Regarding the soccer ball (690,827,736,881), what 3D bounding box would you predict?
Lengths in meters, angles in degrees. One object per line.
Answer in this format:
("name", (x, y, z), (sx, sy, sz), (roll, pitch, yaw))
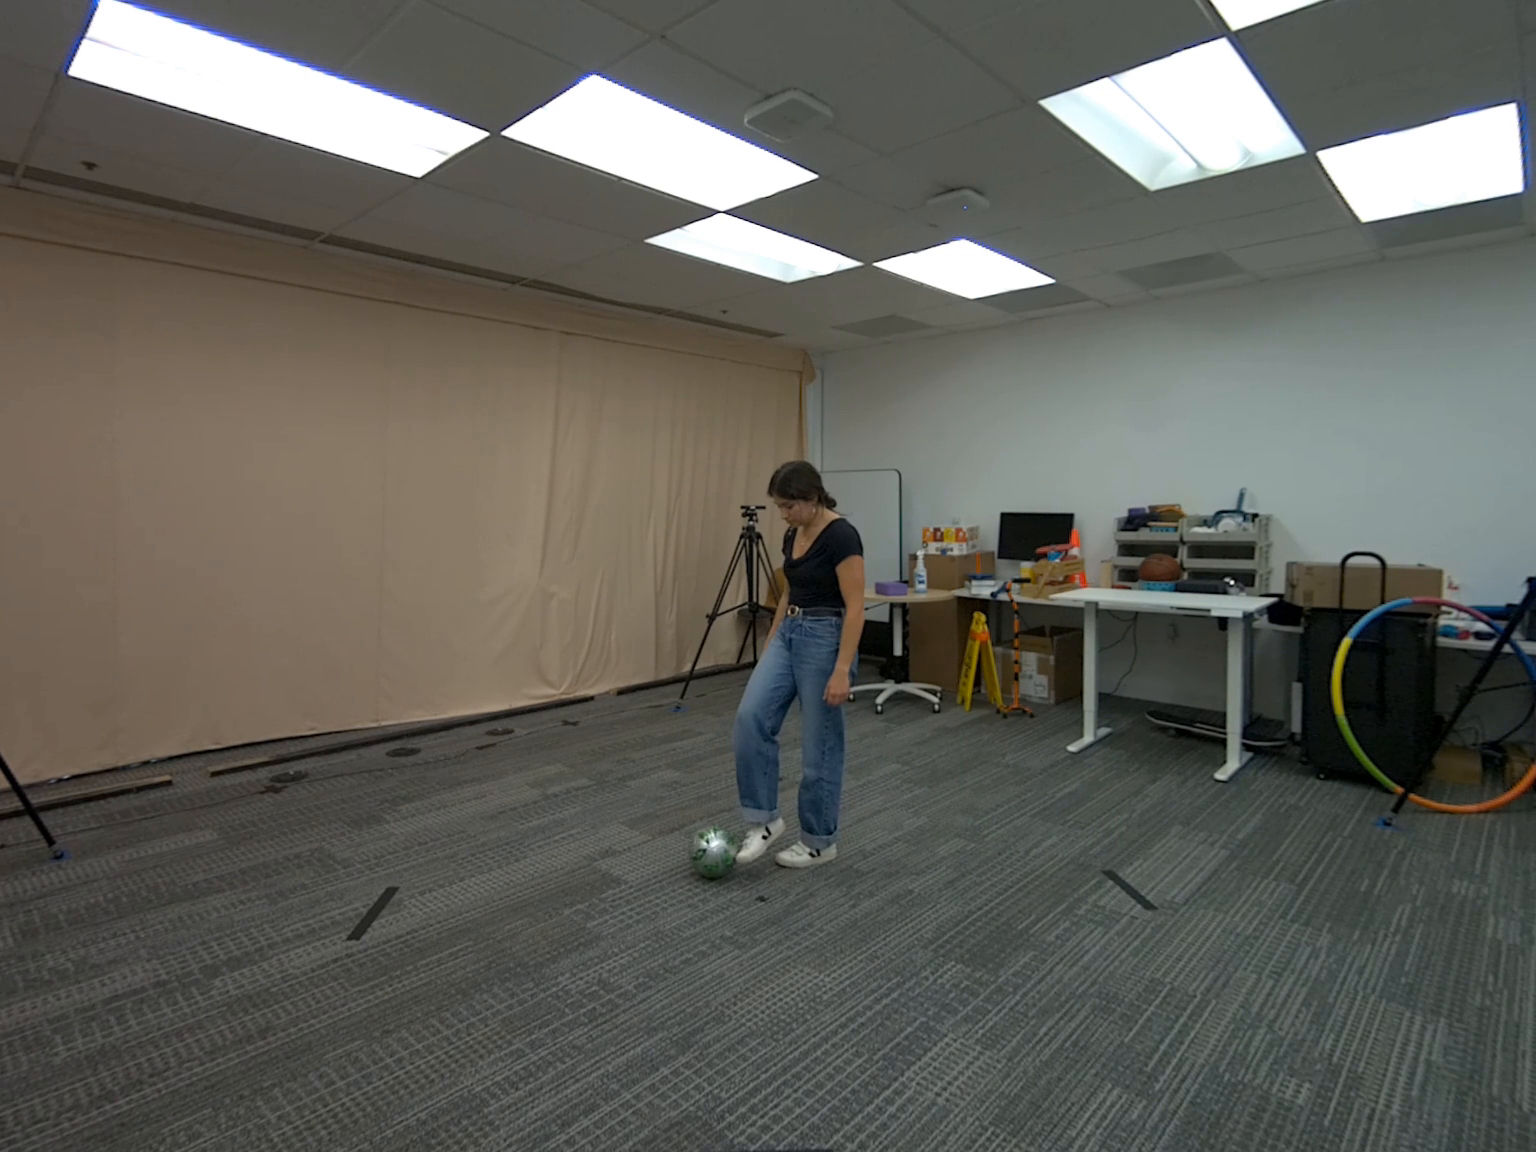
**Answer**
("soccer ball", (-0.200, 1.042, 3.168), (0.187, 0.187, 0.188), (0, 4, -2))
